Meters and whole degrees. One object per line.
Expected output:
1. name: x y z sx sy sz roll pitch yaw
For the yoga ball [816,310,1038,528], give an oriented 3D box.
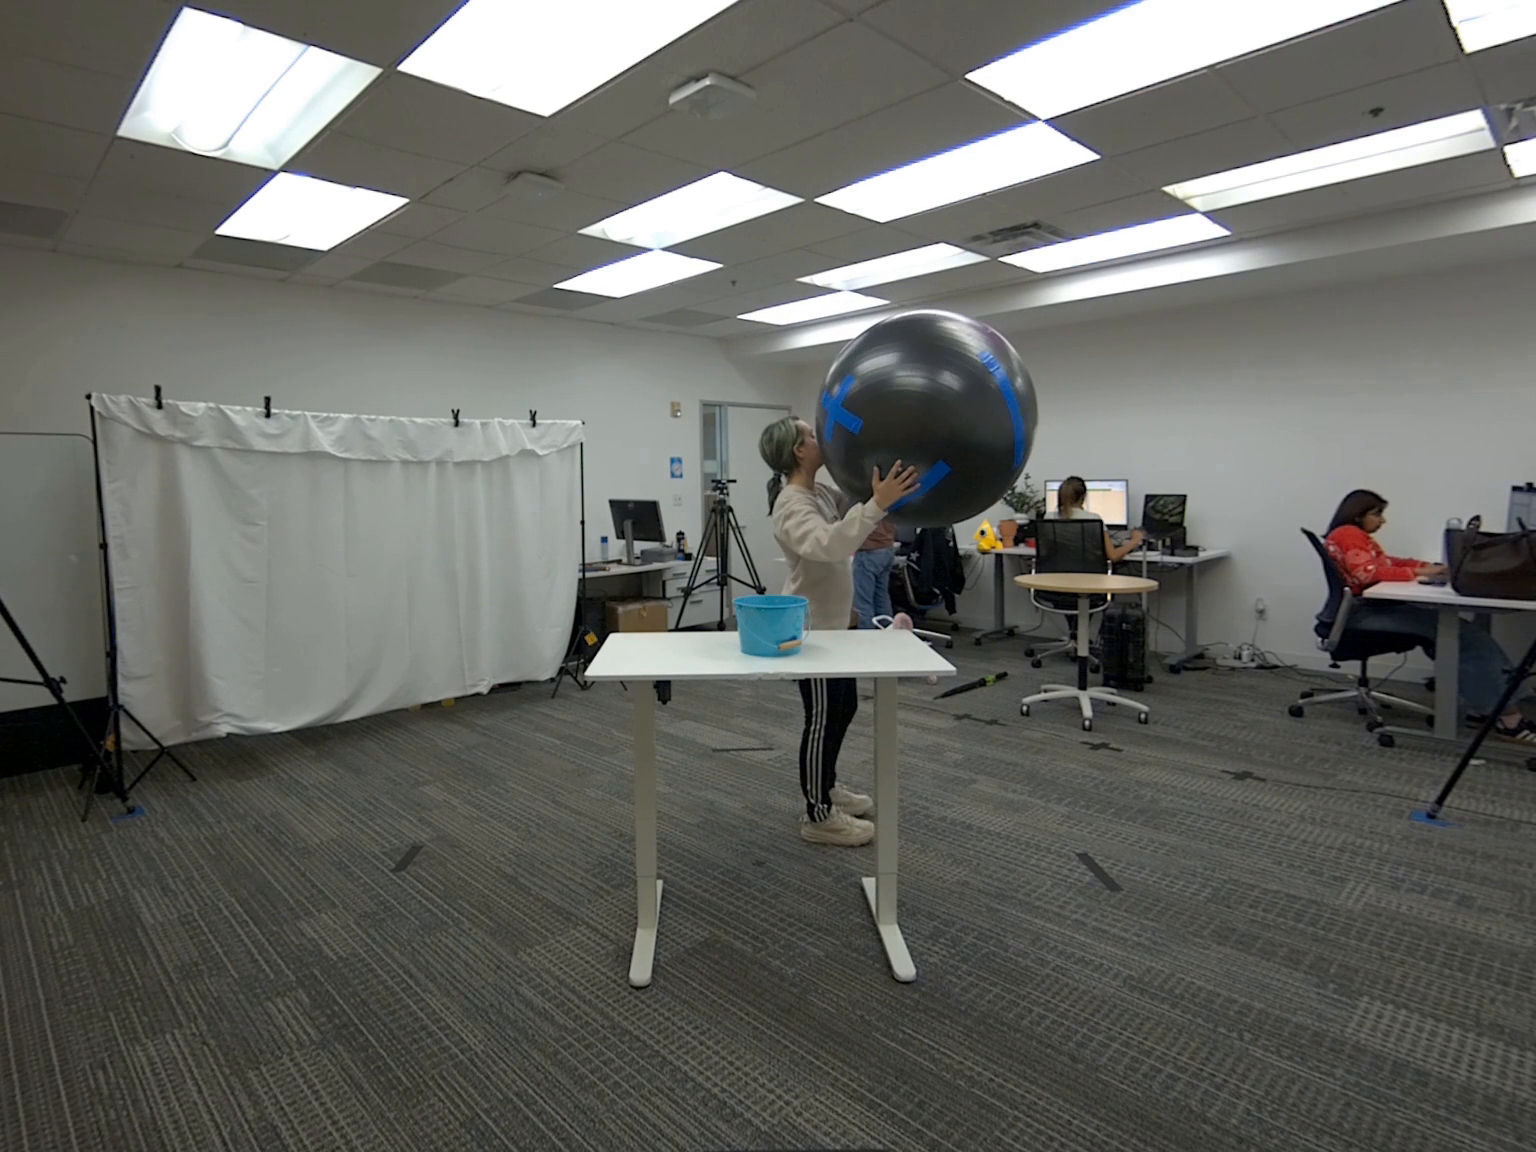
1. yoga ball: 0.552 -0.548 3.014 0.757 0.755 0.762 -1 5 -2
